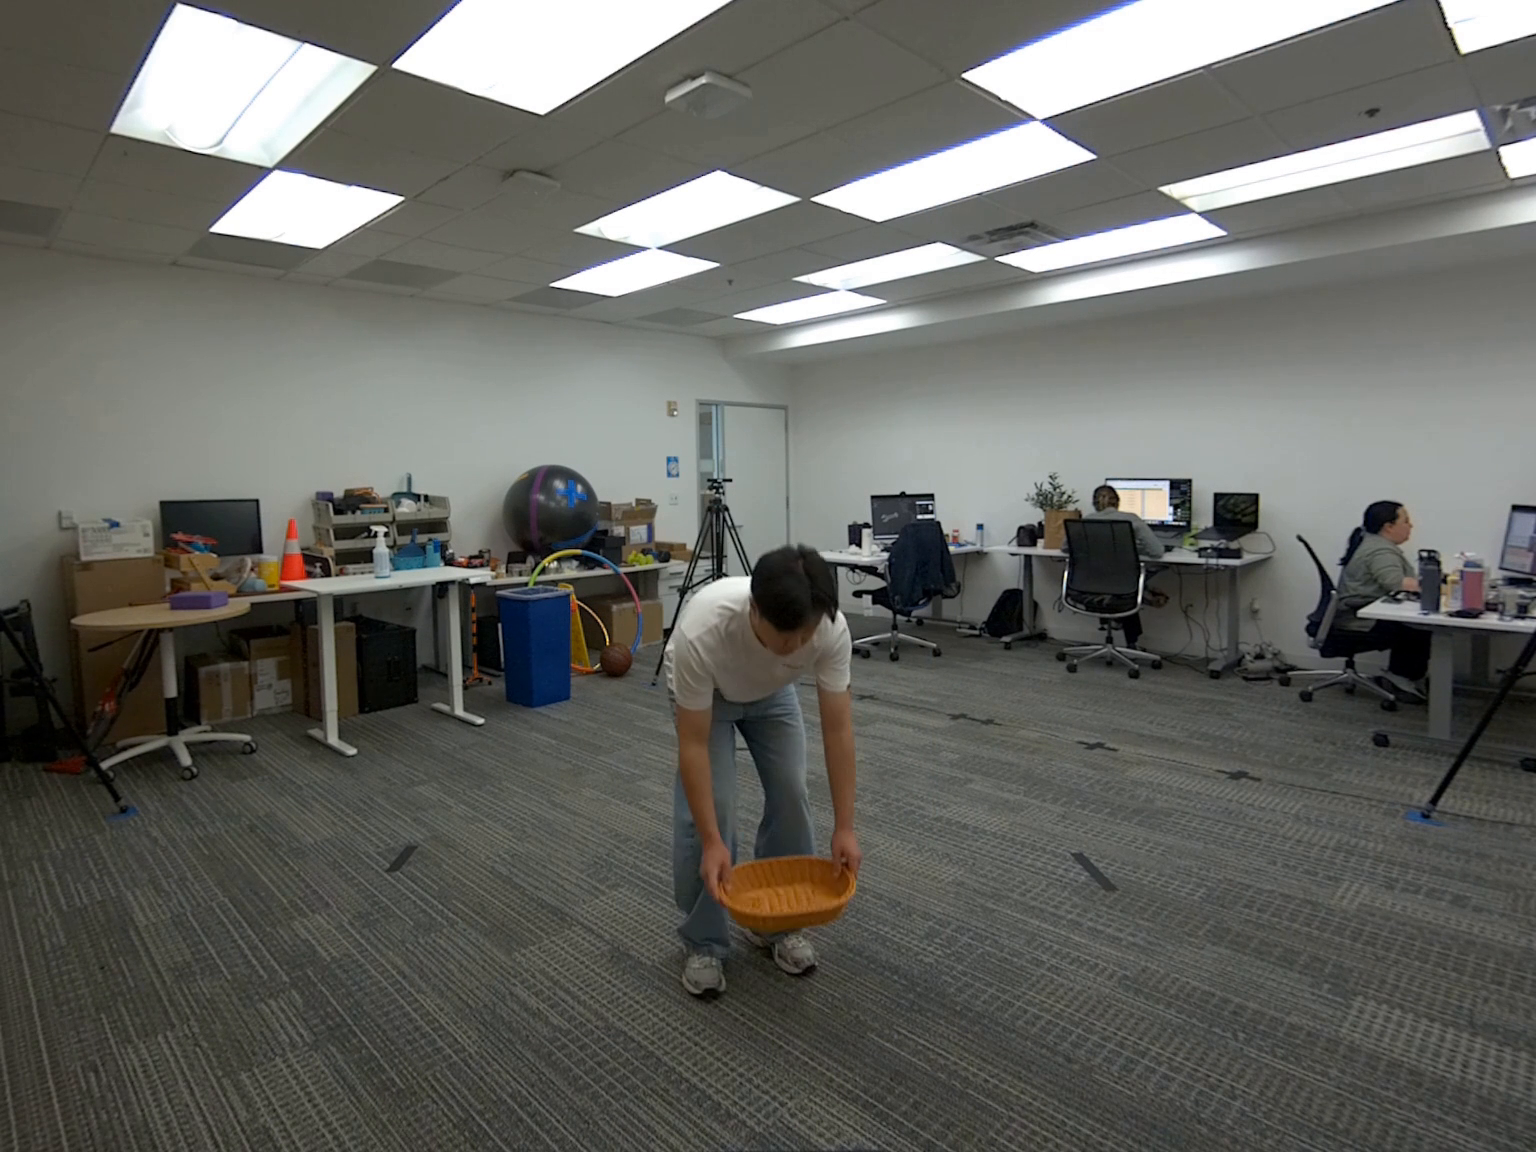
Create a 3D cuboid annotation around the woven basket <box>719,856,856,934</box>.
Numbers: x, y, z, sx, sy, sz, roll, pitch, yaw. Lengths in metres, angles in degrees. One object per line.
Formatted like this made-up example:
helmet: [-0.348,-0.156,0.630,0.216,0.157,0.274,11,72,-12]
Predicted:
woven basket: [0.047,0.794,2.128,0.347,0.073,0.257,-5,11,-12]
